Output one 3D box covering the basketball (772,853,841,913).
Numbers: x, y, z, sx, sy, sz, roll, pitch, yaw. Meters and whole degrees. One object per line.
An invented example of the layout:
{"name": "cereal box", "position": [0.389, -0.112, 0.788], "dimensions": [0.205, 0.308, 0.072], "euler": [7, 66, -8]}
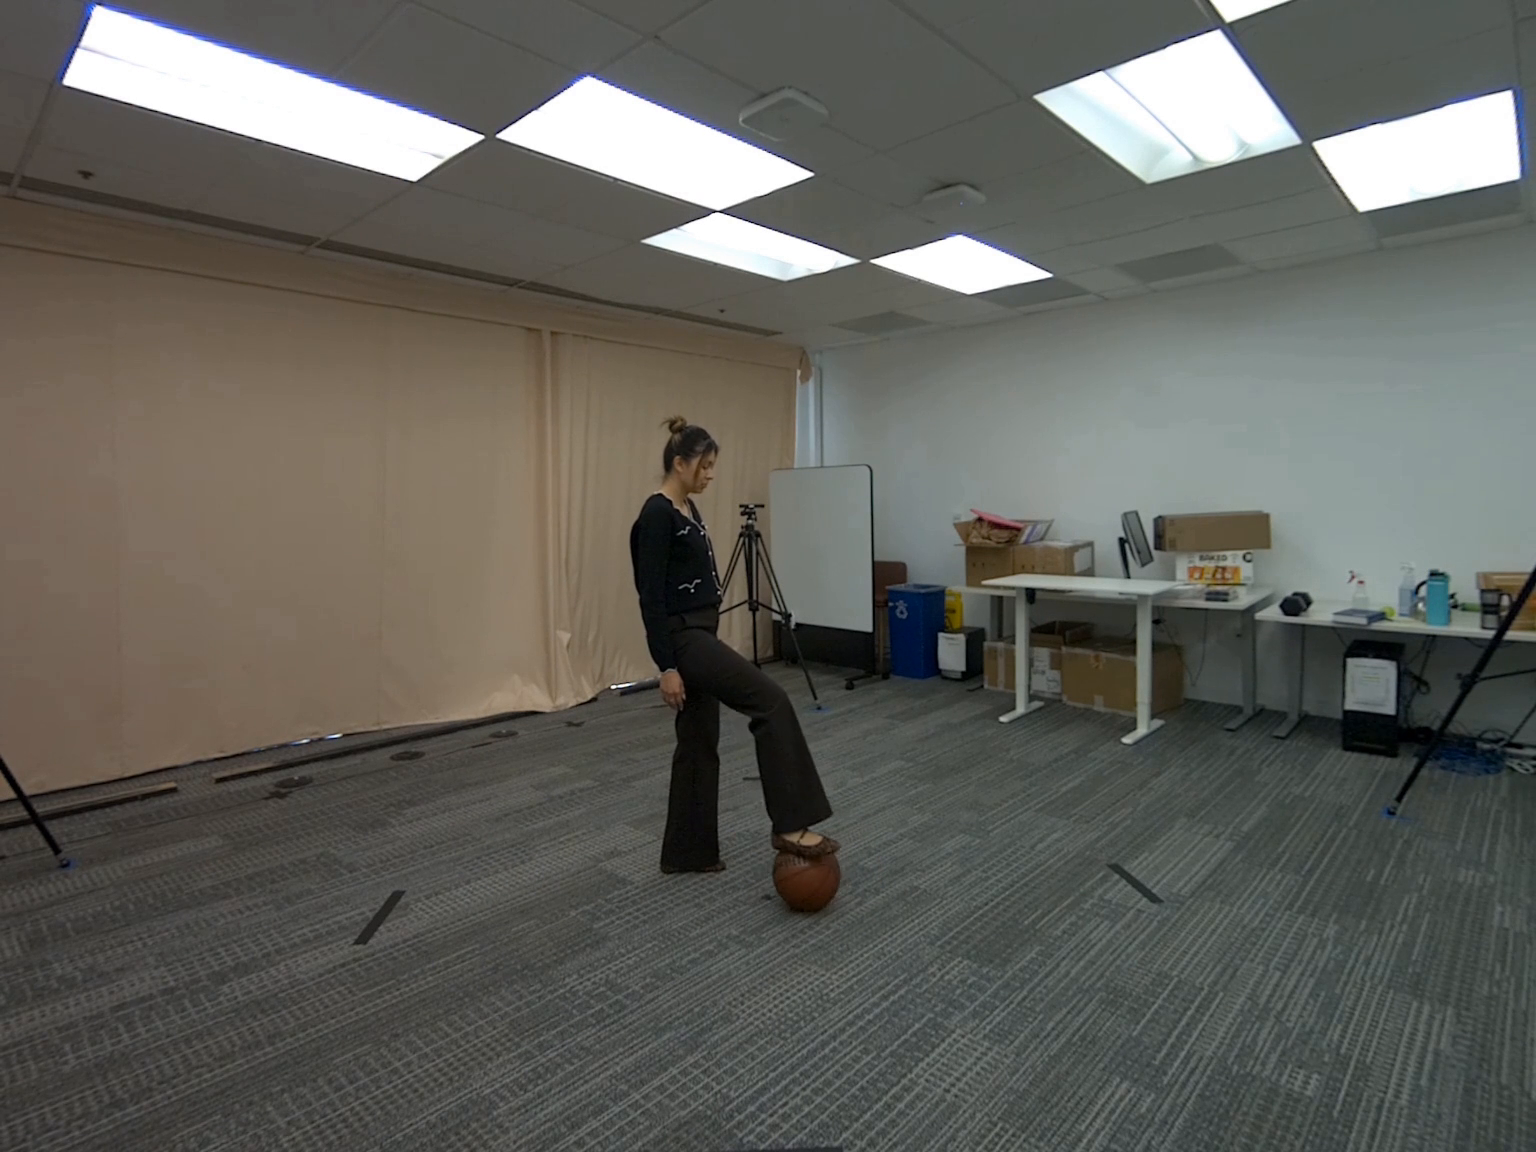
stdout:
{"name": "basketball", "position": [0.136, 1.028, 2.913], "dimensions": [0.236, 0.235, 0.237], "euler": [-1, 4, -2]}
